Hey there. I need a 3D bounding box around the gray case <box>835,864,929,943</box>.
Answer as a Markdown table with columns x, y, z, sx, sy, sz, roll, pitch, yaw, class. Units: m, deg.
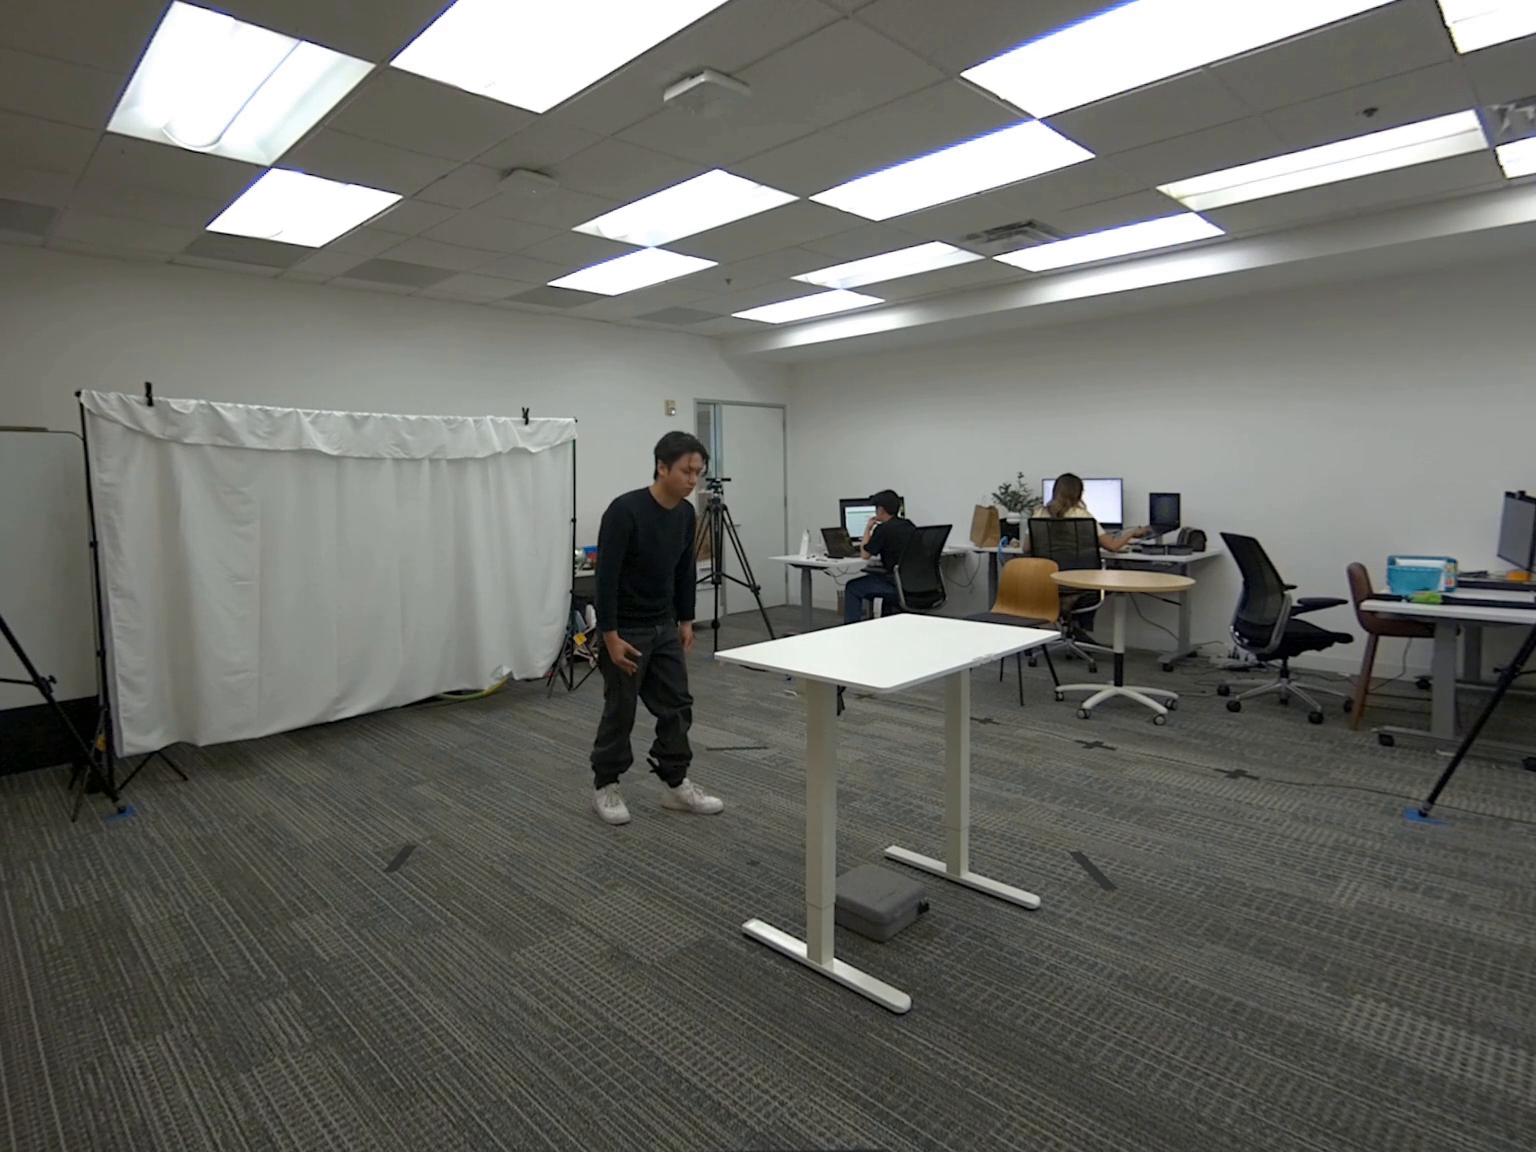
| x | y | z | sx | sy | sz | roll | pitch | yaw | class |
| --- | --- | --- | --- | --- | --- | --- | --- | --- | --- |
| 0.335 | 1.021 | 2.702 | 0.265 | 0.104 | 0.254 | 4 | 8 | 44 | gray case |
